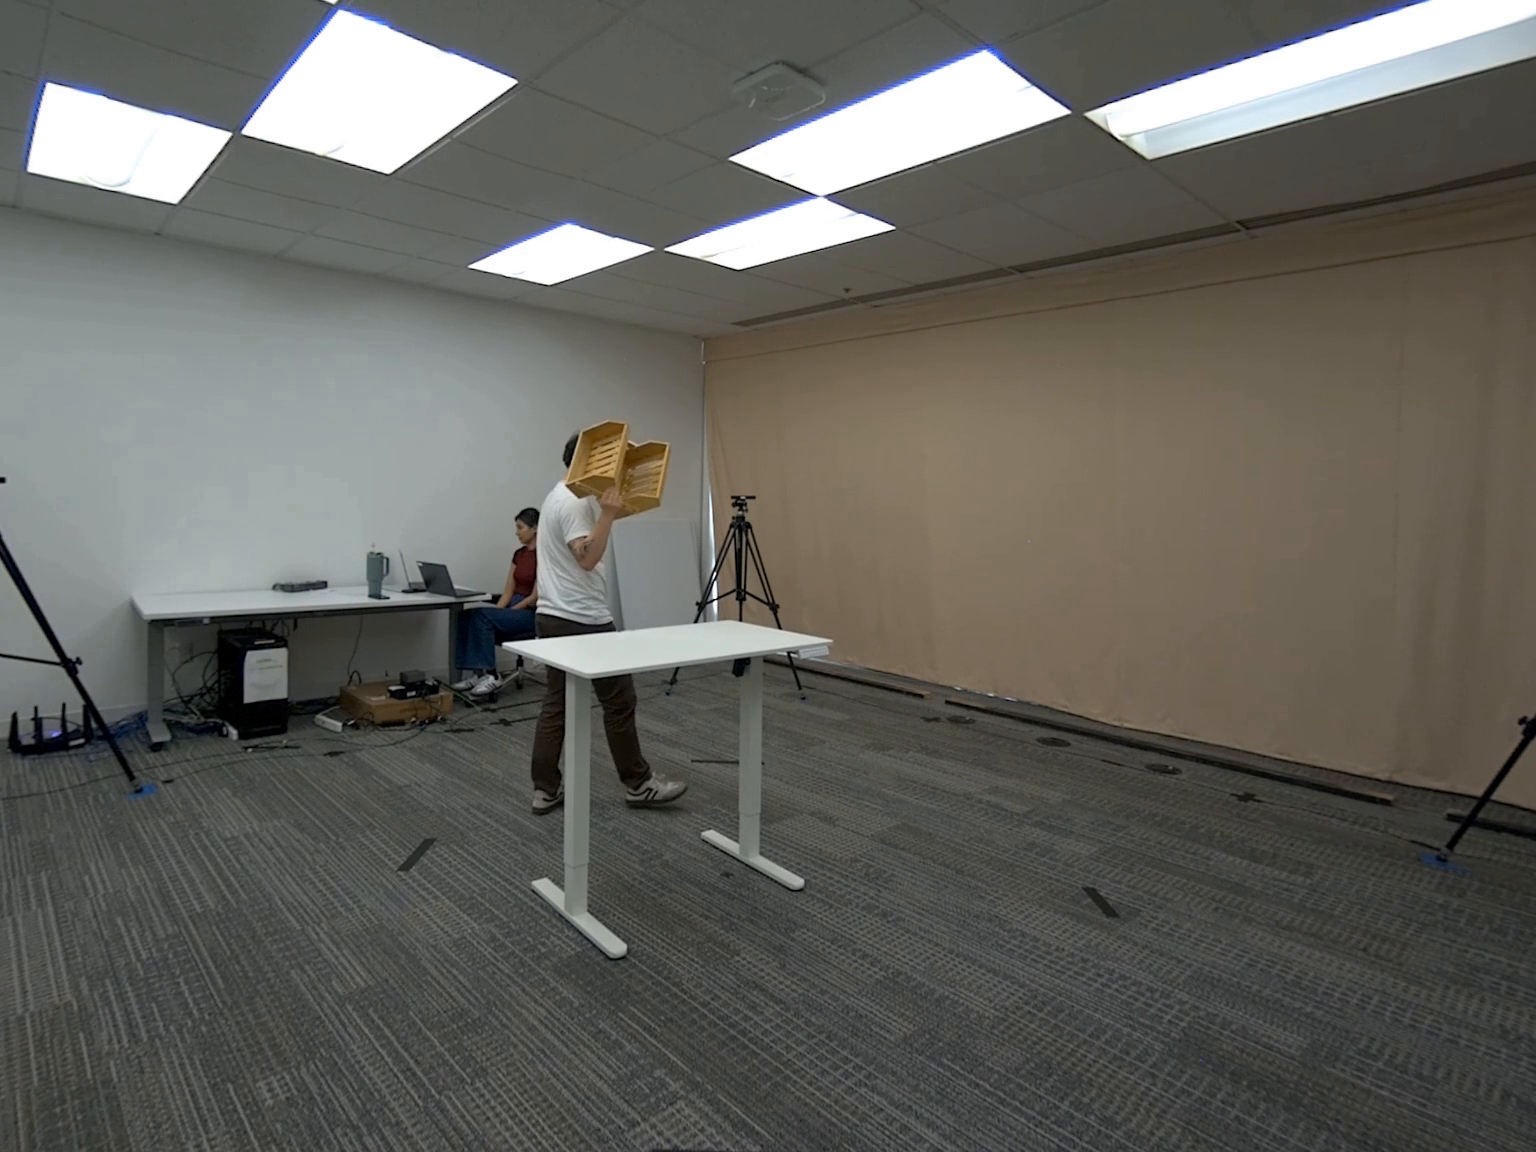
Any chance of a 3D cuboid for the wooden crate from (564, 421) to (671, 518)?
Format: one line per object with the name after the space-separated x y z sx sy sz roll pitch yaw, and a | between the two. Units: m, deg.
-0.593 -0.443 3.388 0.306 0.330 0.264 -15 -41 26 | wooden crate
